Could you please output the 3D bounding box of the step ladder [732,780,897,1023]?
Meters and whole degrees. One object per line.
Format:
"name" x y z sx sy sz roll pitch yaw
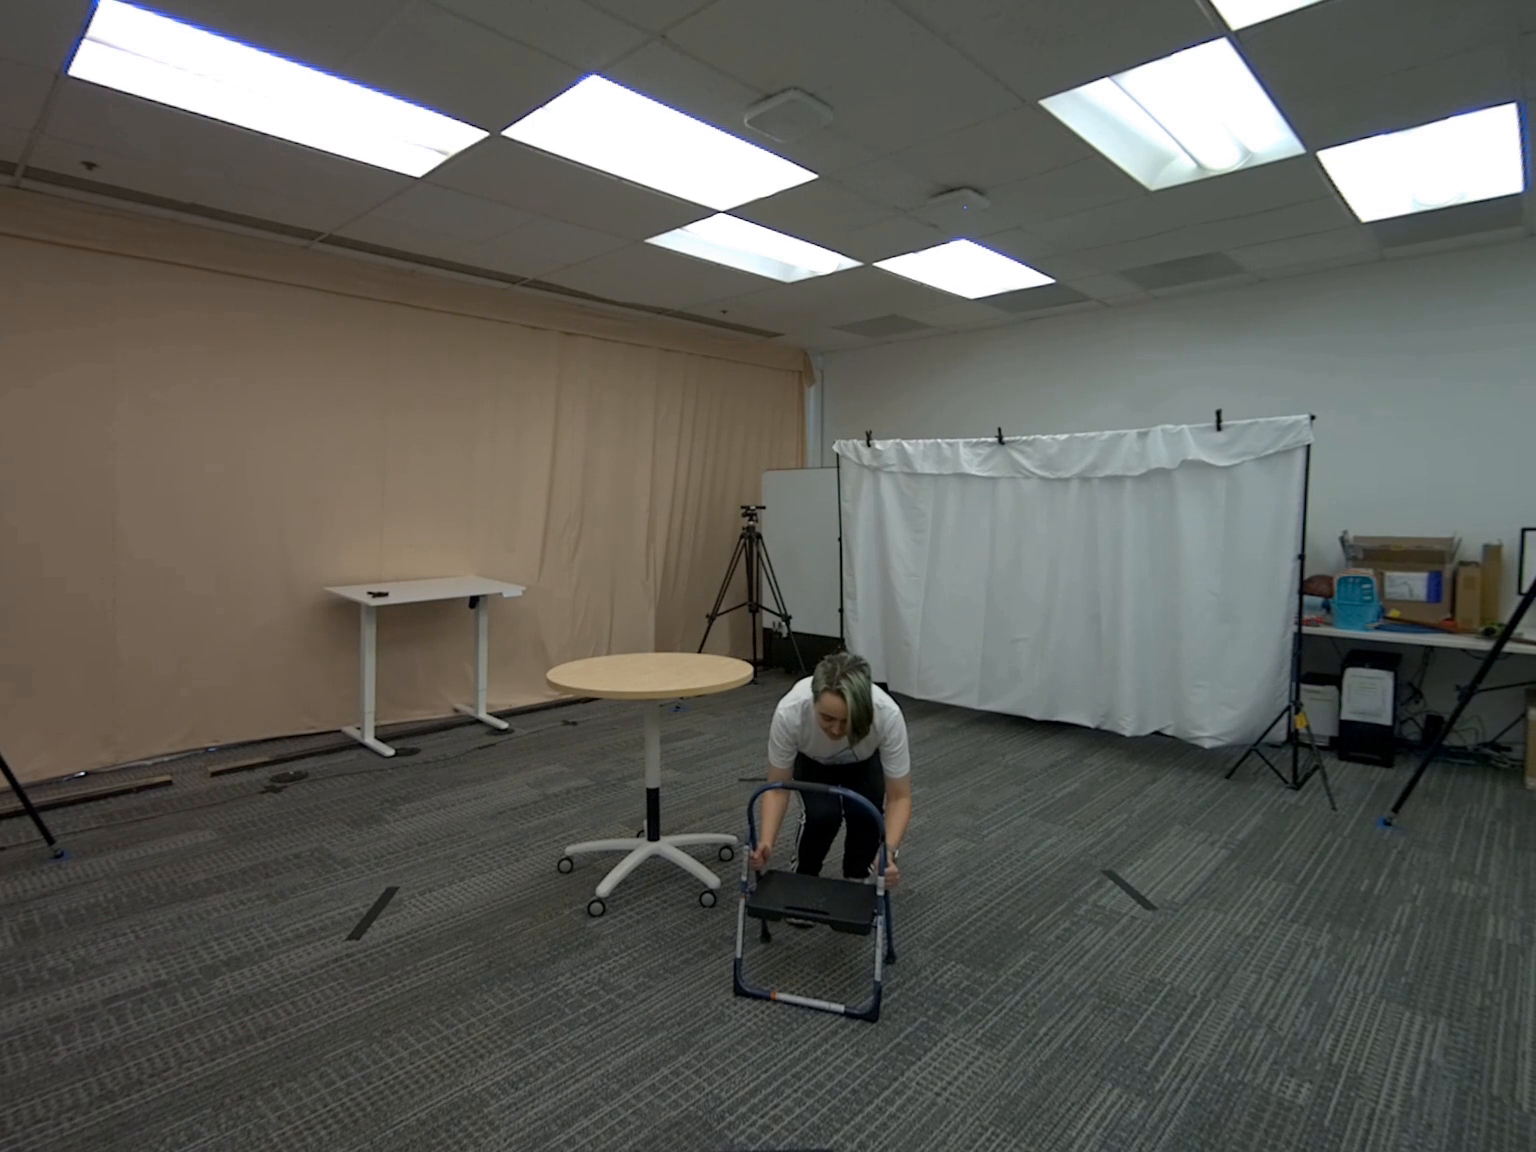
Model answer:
"step ladder" 0.140 0.875 2.464 0.439 0.604 0.344 1 5 17
